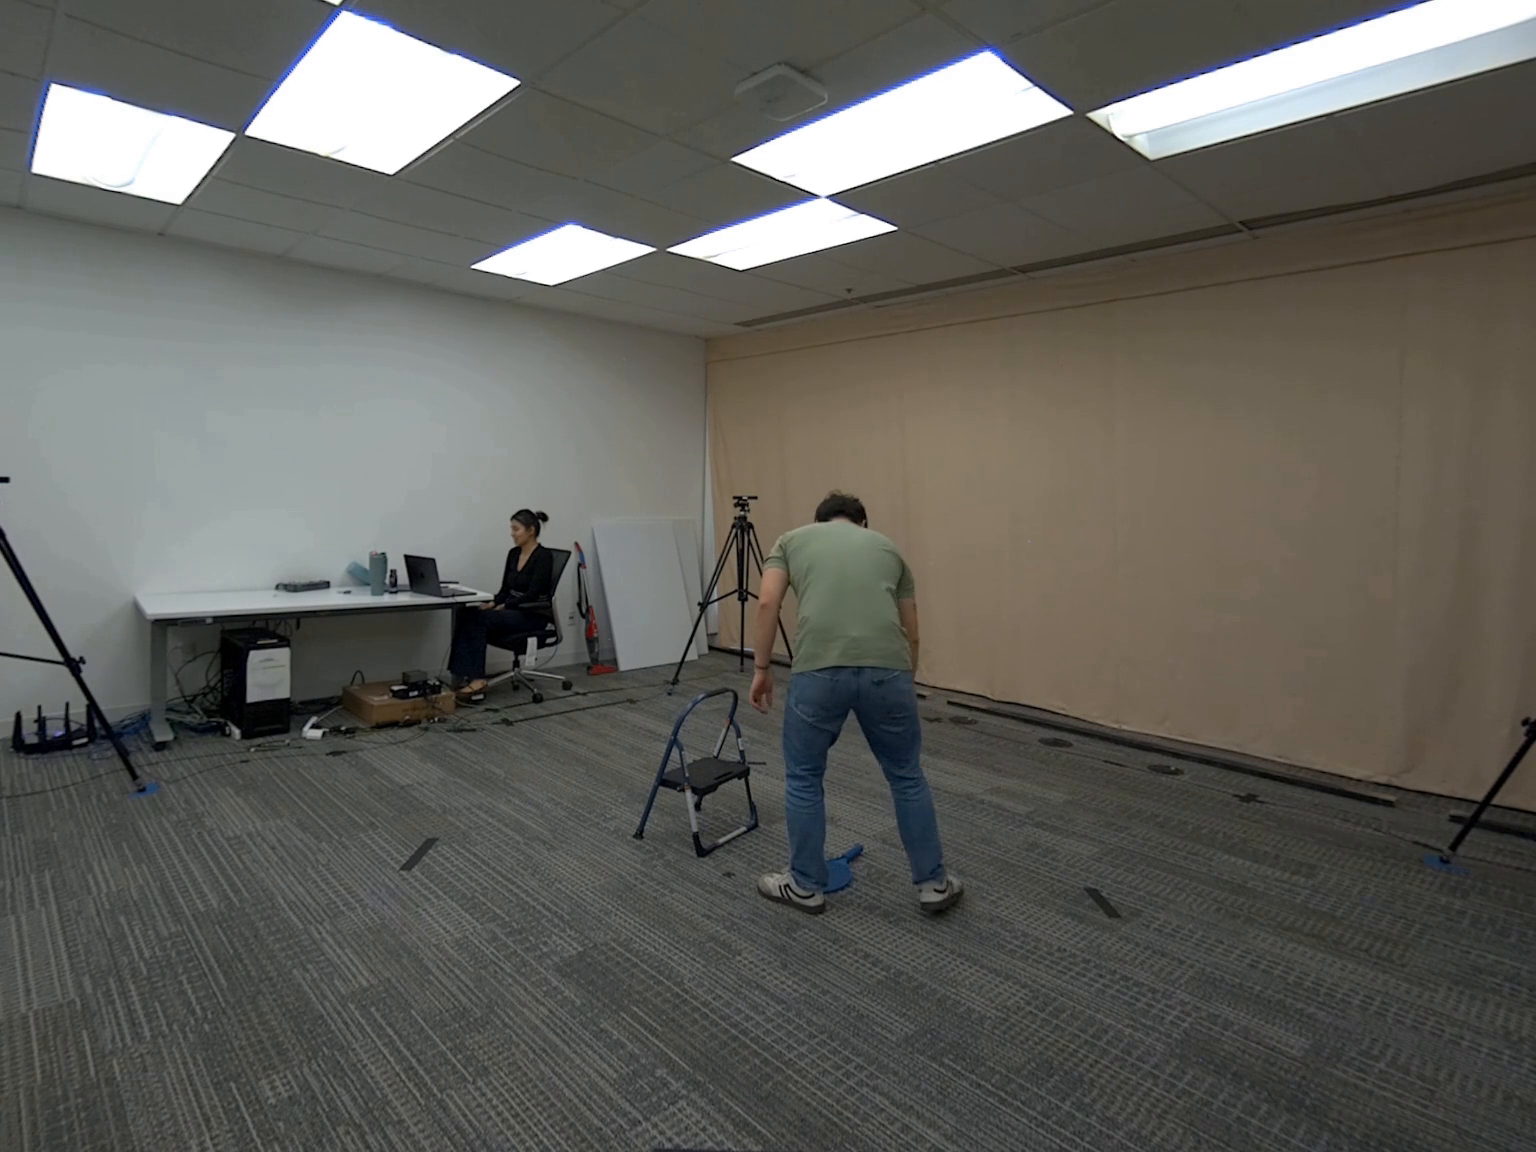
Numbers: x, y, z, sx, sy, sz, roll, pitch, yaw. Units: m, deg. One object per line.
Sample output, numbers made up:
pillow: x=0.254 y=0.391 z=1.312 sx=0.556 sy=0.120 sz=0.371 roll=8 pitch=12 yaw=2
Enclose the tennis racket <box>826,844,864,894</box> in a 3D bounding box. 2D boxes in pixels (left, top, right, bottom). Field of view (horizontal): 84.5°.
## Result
tennis racket: x=0.233 y=1.093 z=3.143 sx=0.219 sy=0.031 sz=0.424 roll=4 pitch=8 yaw=36
